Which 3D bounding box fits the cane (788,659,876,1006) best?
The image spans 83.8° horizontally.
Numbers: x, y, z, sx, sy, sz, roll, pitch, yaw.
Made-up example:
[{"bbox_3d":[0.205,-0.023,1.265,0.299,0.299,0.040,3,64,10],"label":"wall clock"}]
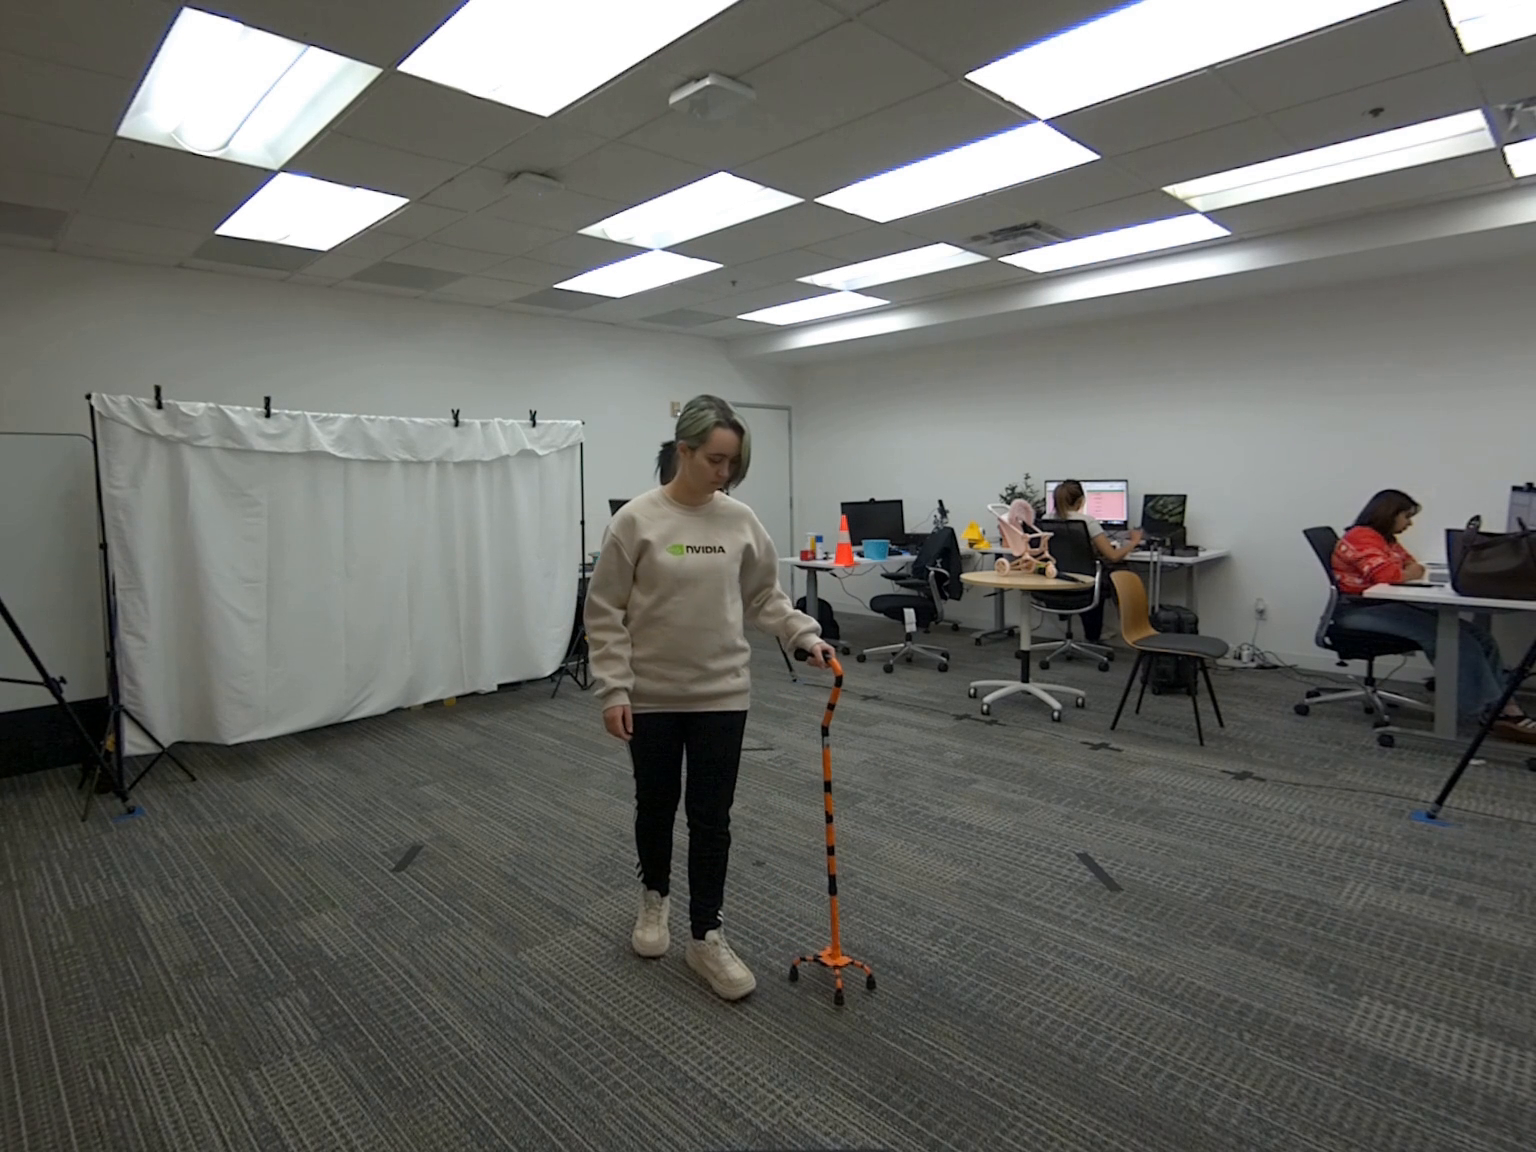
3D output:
[{"bbox_3d":[0.158,0.661,2.369,0.147,0.908,0.212,0,-1,-37],"label":"cane"}]
